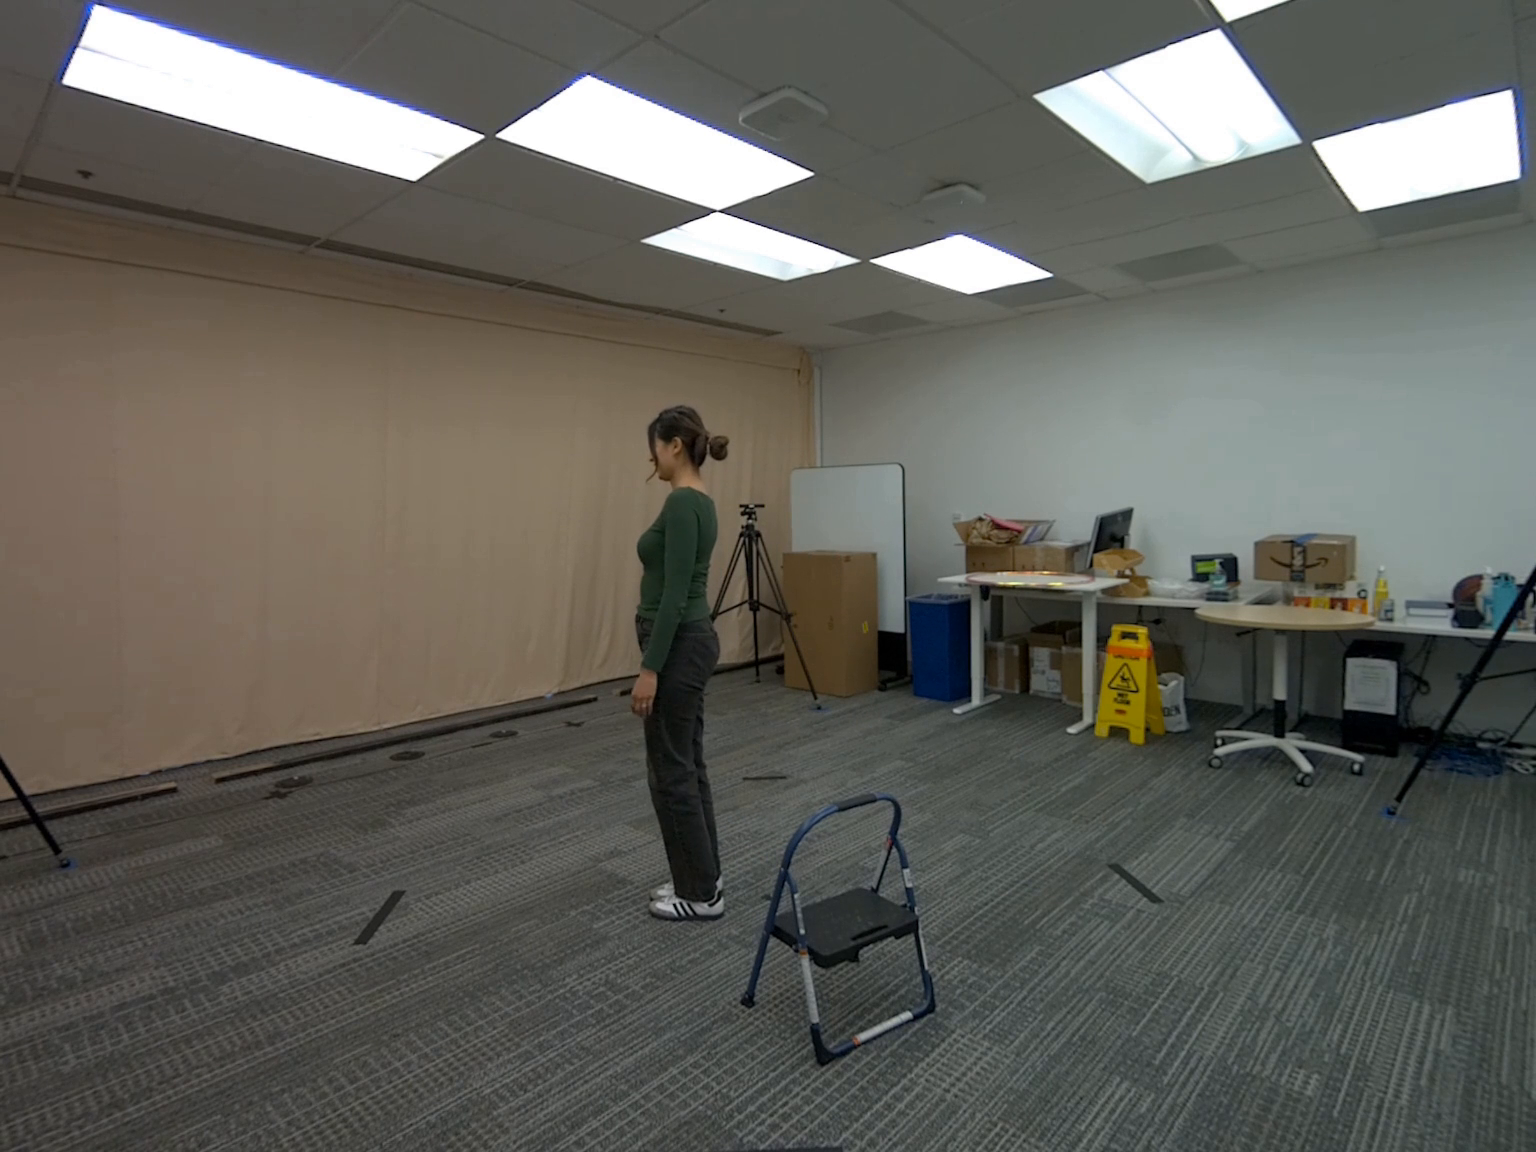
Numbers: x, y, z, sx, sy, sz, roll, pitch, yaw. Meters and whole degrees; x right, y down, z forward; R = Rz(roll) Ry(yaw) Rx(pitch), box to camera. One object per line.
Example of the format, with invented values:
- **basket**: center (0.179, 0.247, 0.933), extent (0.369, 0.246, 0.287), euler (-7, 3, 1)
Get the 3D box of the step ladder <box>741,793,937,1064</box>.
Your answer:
- **step ladder**: center (0.195, 0.891, 2.317), extent (0.418, 0.604, 0.360), euler (-4, 5, -36)
